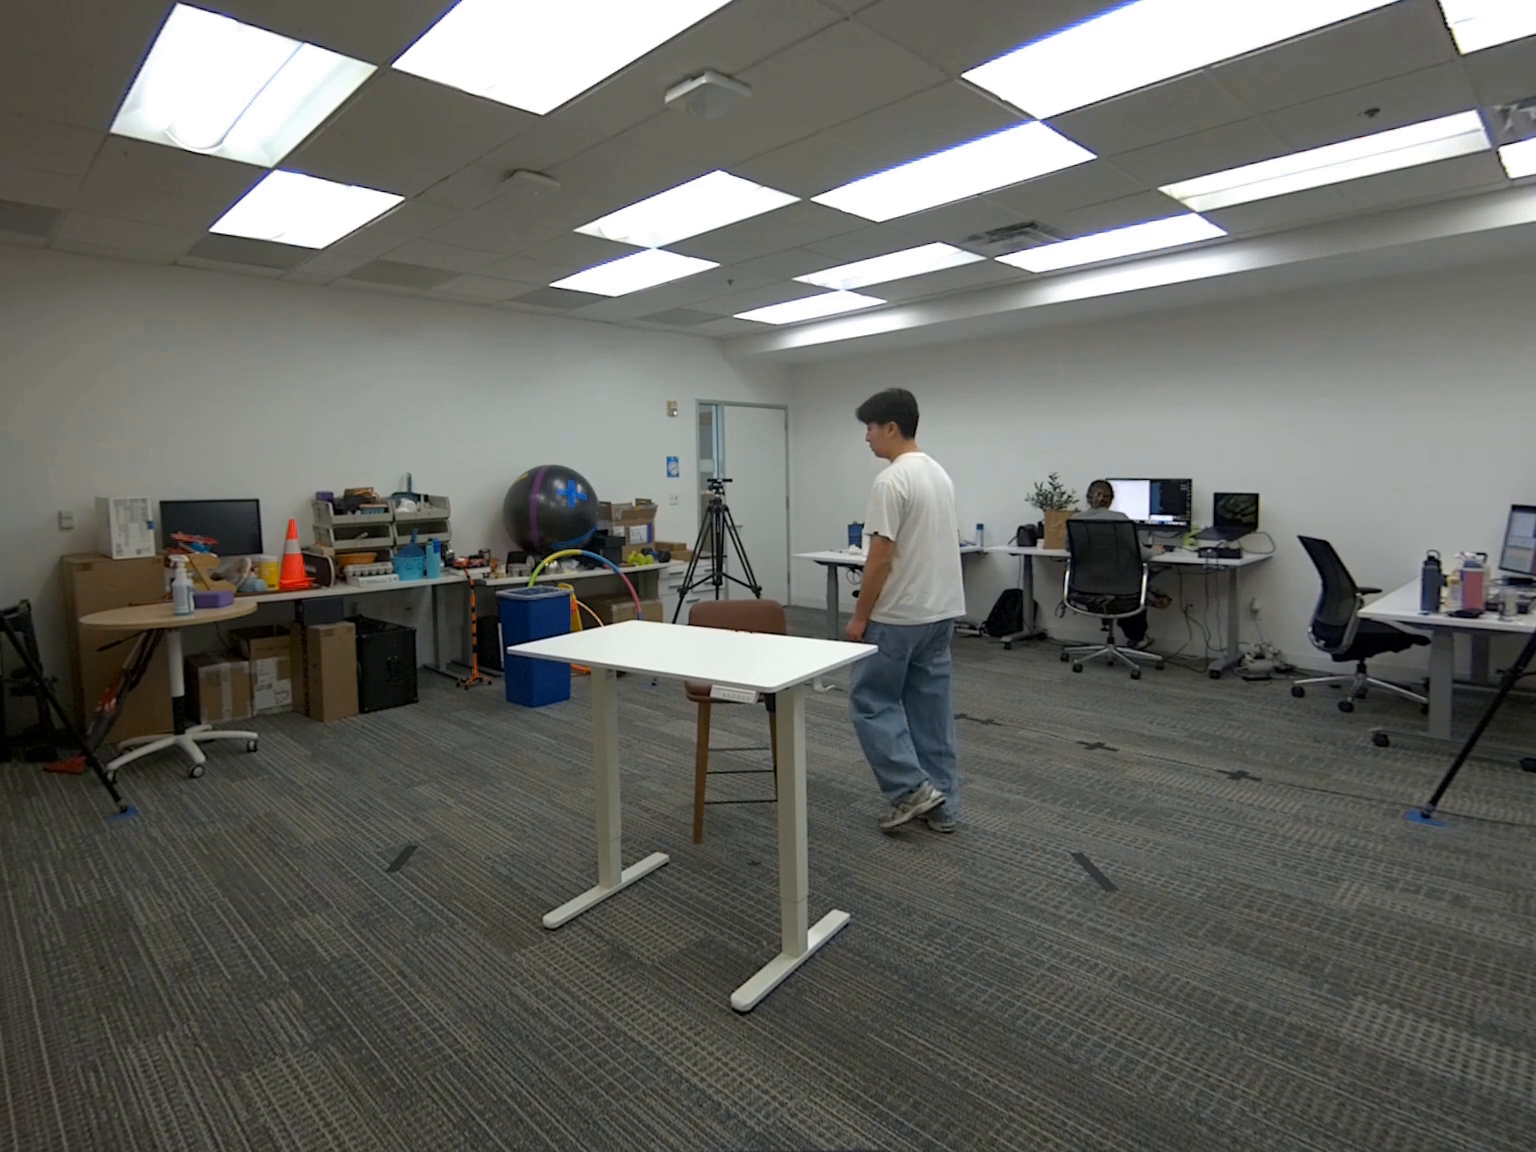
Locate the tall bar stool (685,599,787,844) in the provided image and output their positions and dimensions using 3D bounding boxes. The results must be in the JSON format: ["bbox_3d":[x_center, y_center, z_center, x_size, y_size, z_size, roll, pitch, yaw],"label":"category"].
[{"bbox_3d":[-0.101,0.570,3.490,0.455,0.888,0.470,-1,2,-5],"label":"tall bar stool"}]
